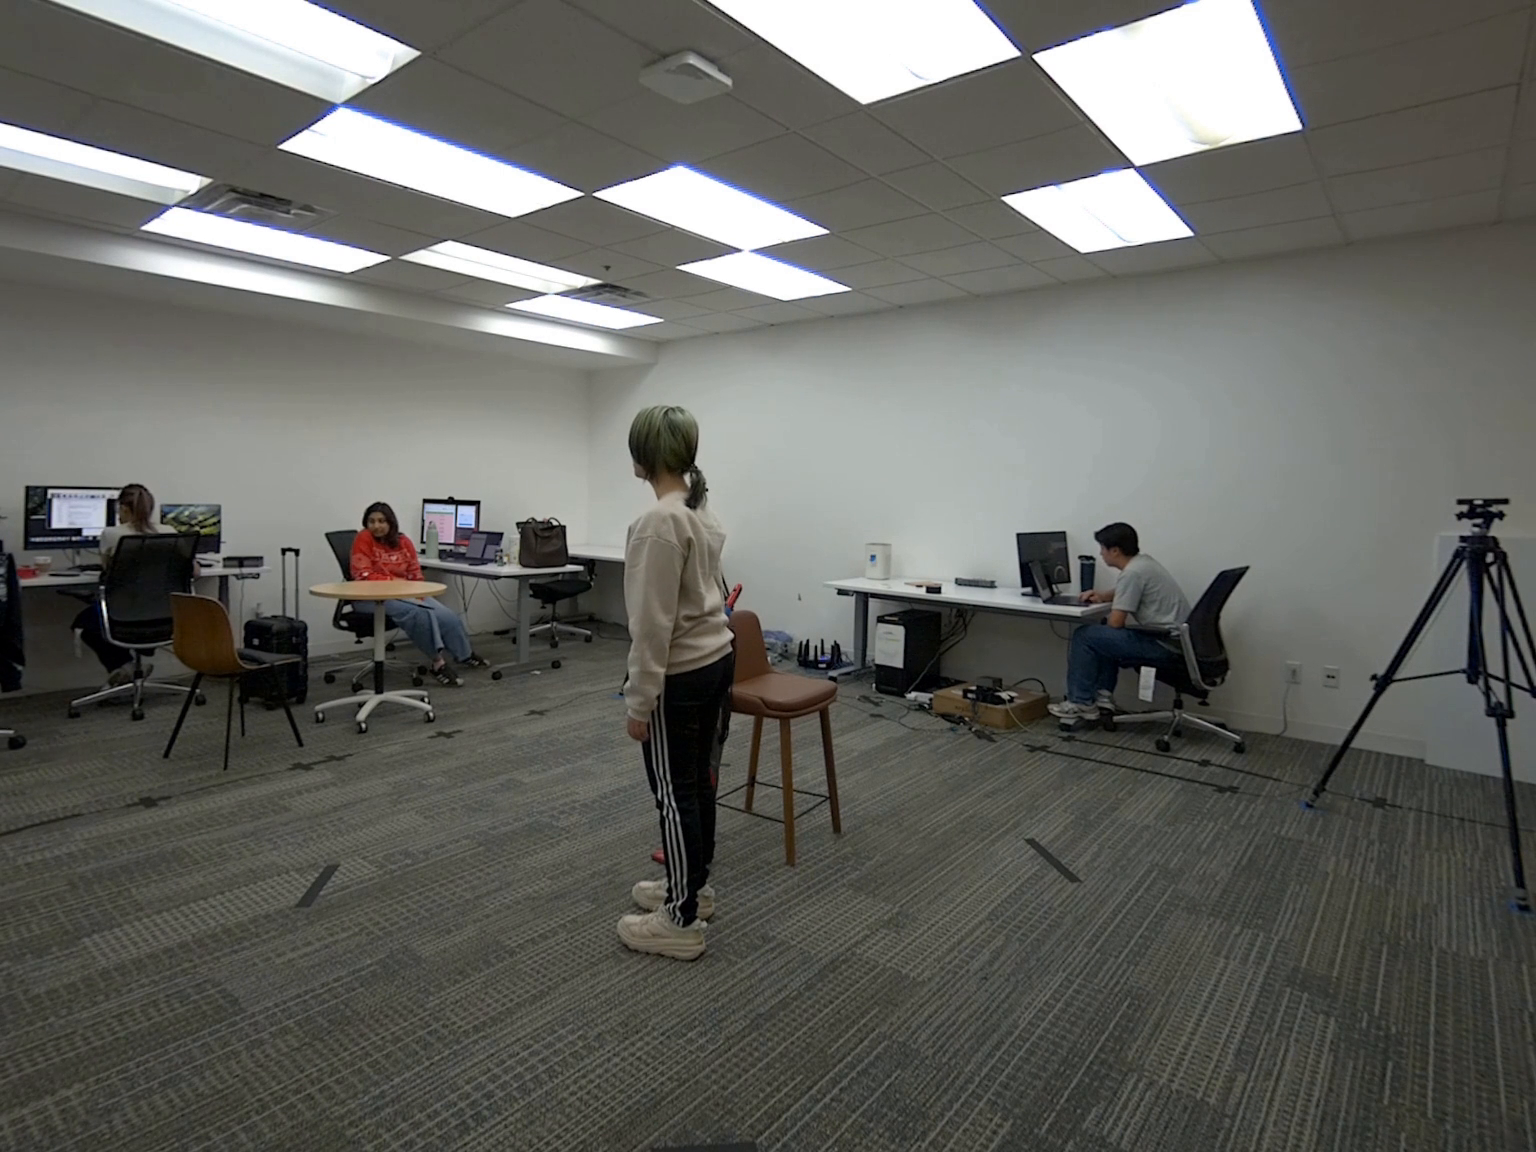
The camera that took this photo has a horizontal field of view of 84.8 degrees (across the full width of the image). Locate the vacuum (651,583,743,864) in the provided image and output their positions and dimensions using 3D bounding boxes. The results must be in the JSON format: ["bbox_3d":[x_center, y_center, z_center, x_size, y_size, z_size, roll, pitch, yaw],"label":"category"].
[{"bbox_3d":[-0.212,0.551,3.239,0.261,1.057,0.138,1,-13,43],"label":"vacuum"}]
